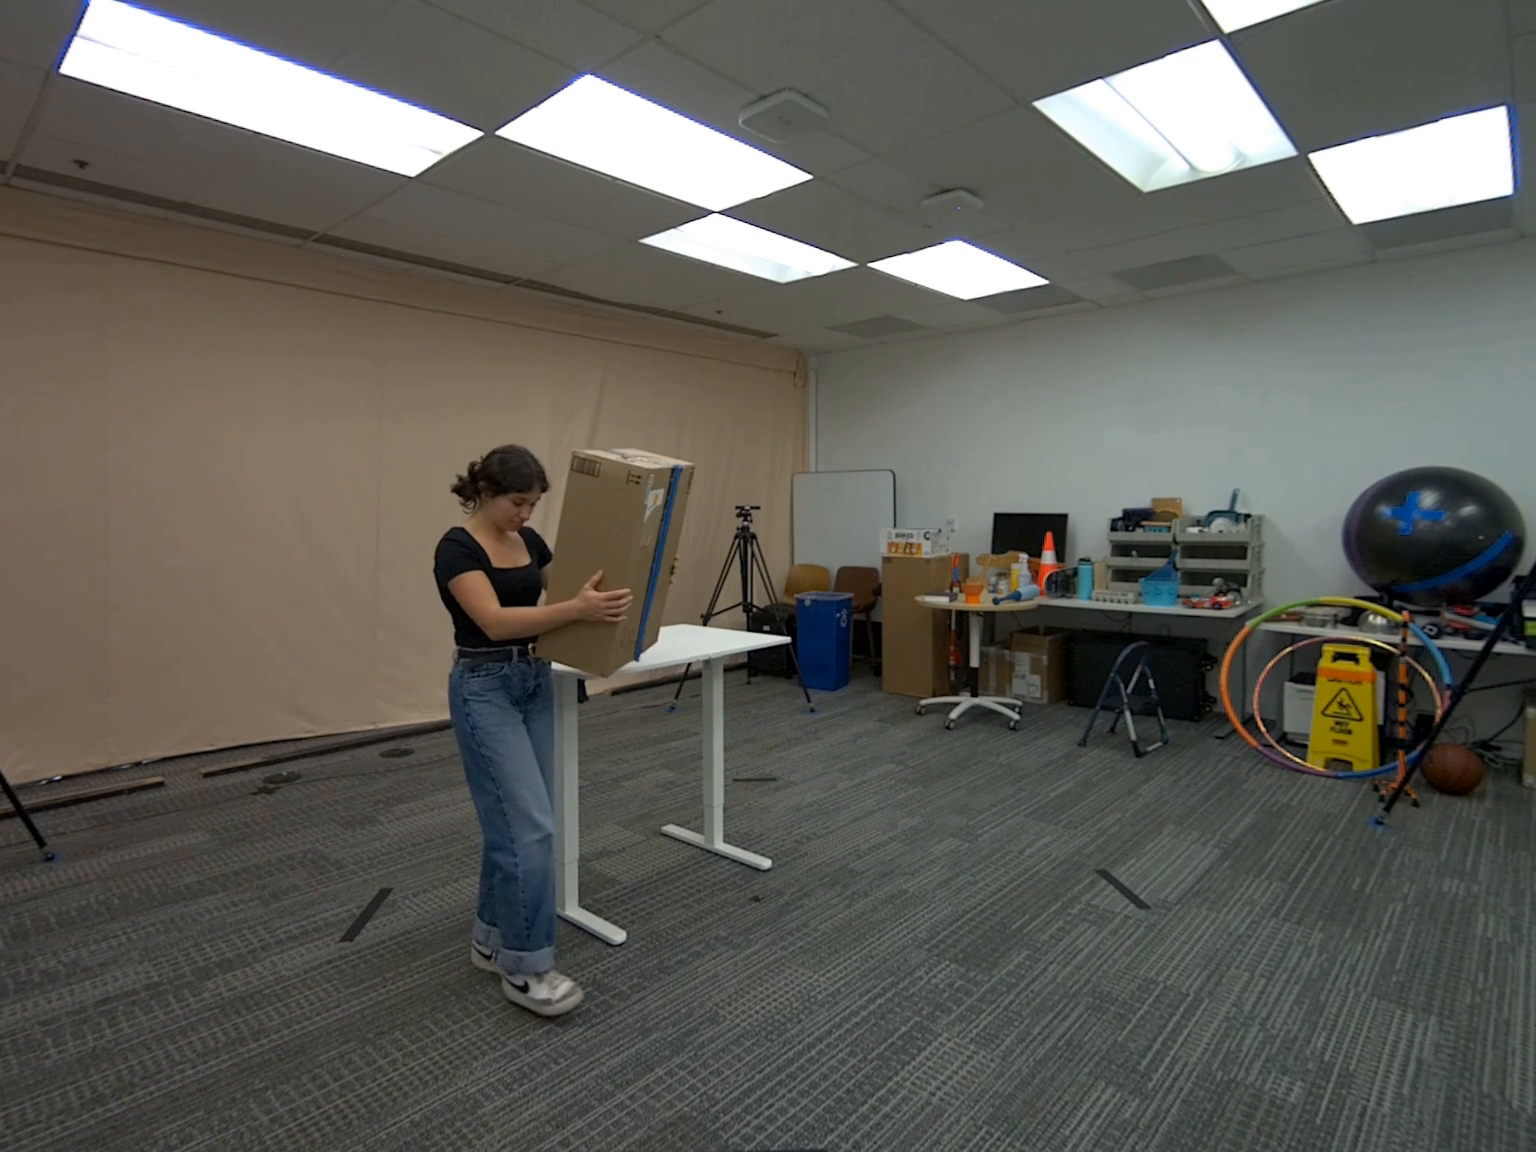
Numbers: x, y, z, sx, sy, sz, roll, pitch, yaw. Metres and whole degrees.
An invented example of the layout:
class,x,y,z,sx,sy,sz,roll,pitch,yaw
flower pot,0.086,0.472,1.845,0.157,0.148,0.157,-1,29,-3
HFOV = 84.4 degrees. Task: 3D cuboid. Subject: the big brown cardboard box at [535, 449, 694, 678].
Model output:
class,x,y,z,sx,sy,sz,roll,pitch,yaw
big brown cardboard box,-0.410,-0.063,2.360,0.236,0.587,0.415,15,11,7
